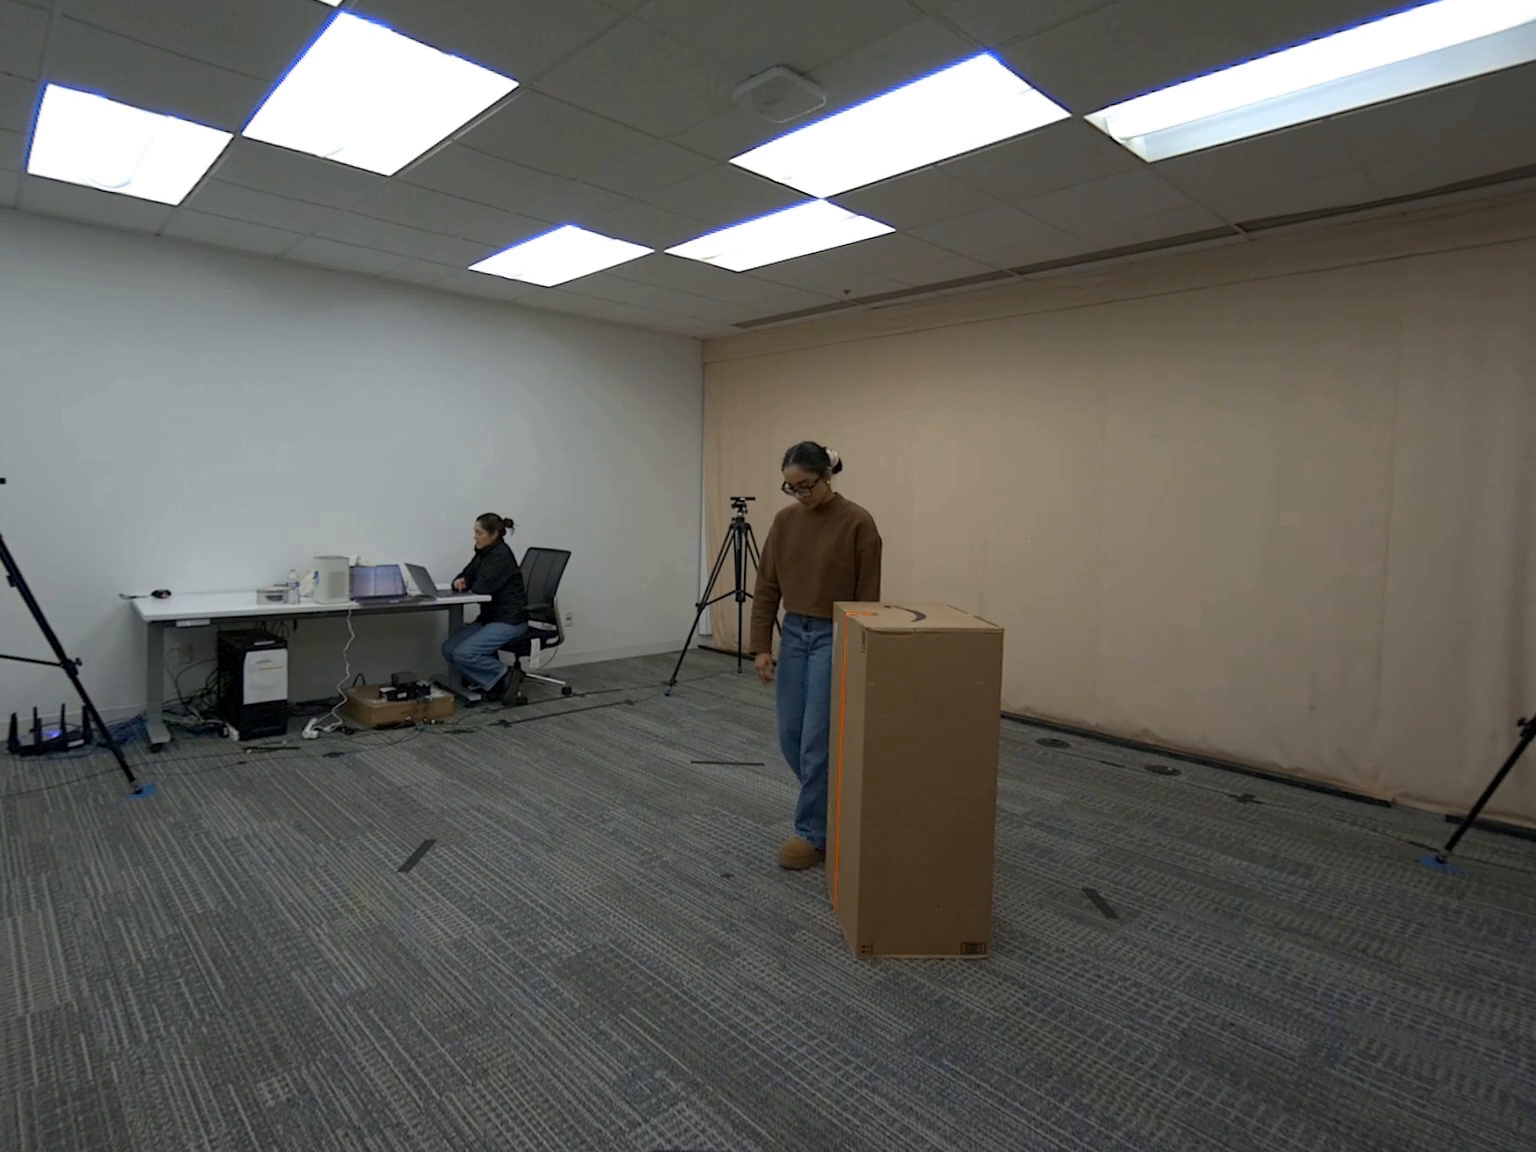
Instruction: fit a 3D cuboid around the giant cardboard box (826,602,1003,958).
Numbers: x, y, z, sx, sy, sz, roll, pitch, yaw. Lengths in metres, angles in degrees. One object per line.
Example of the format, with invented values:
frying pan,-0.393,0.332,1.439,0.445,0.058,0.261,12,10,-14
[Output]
giant cardboard box,0.464,0.637,2.813,0.425,1.023,0.581,1,4,-4
